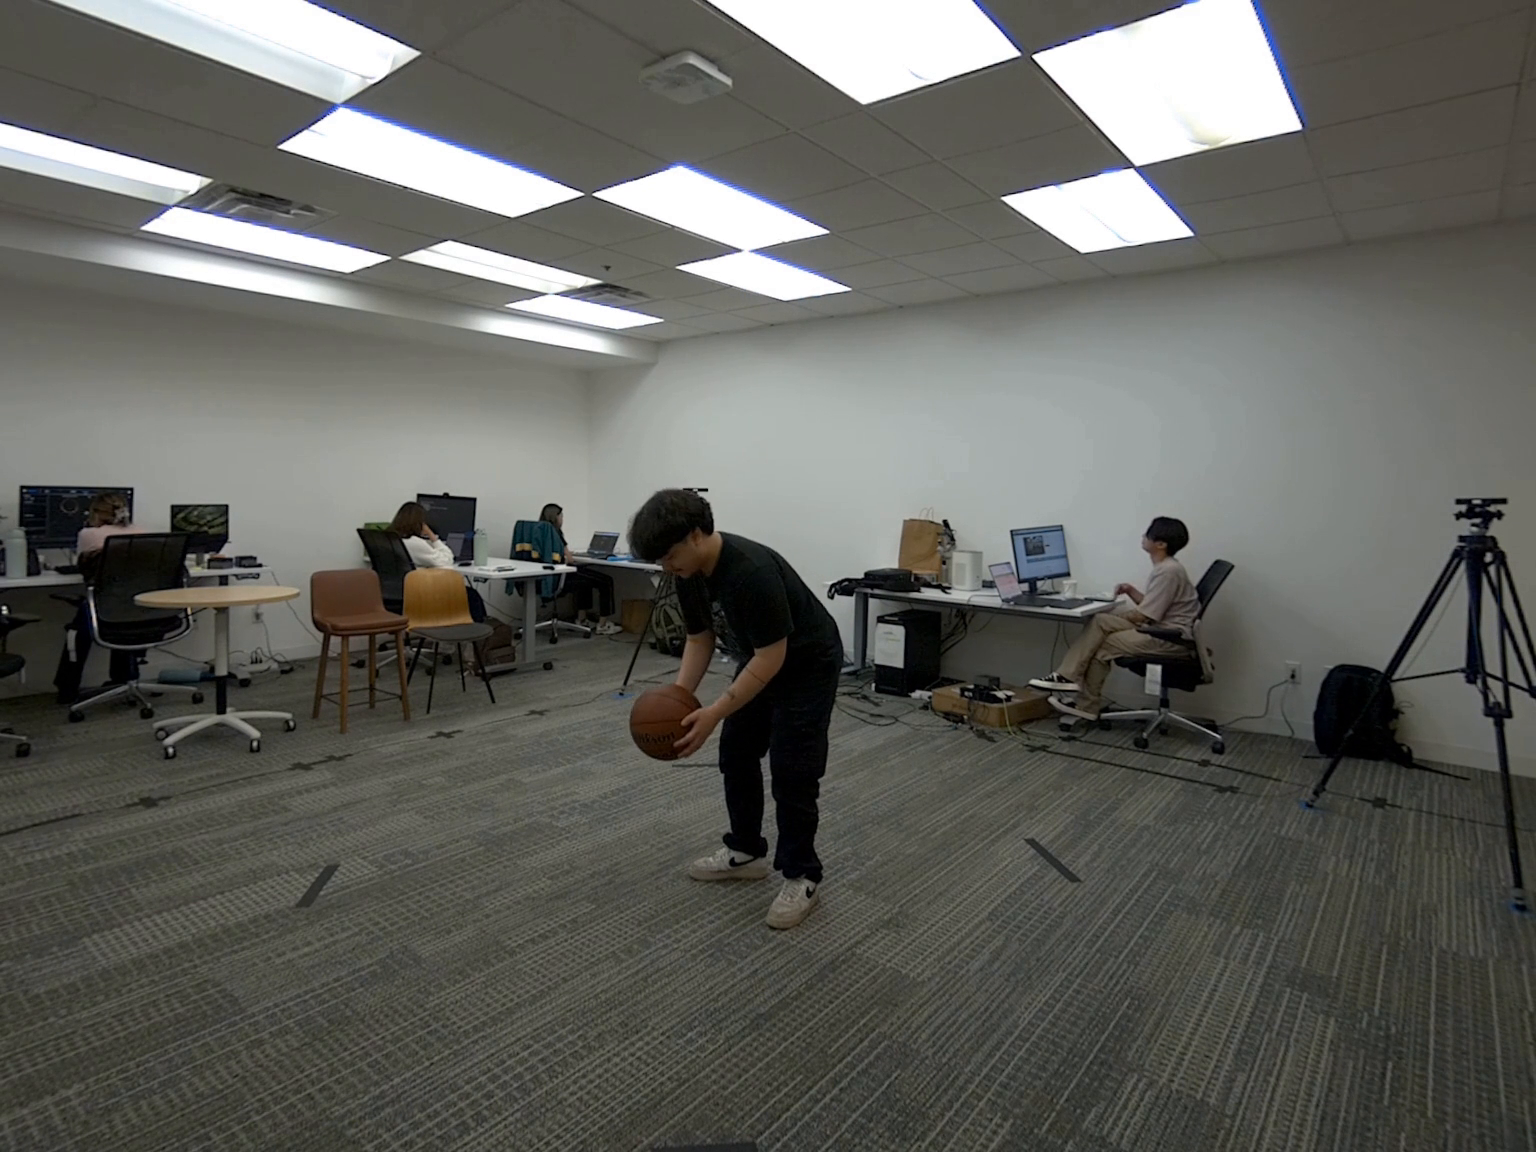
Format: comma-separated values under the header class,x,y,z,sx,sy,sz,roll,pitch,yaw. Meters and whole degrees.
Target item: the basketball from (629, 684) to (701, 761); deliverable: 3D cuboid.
class,x,y,z,sx,sy,sz,roll,pitch,yaw
basketball,-0.328,0.457,2.692,0.235,0.235,0.237,1,4,-2
